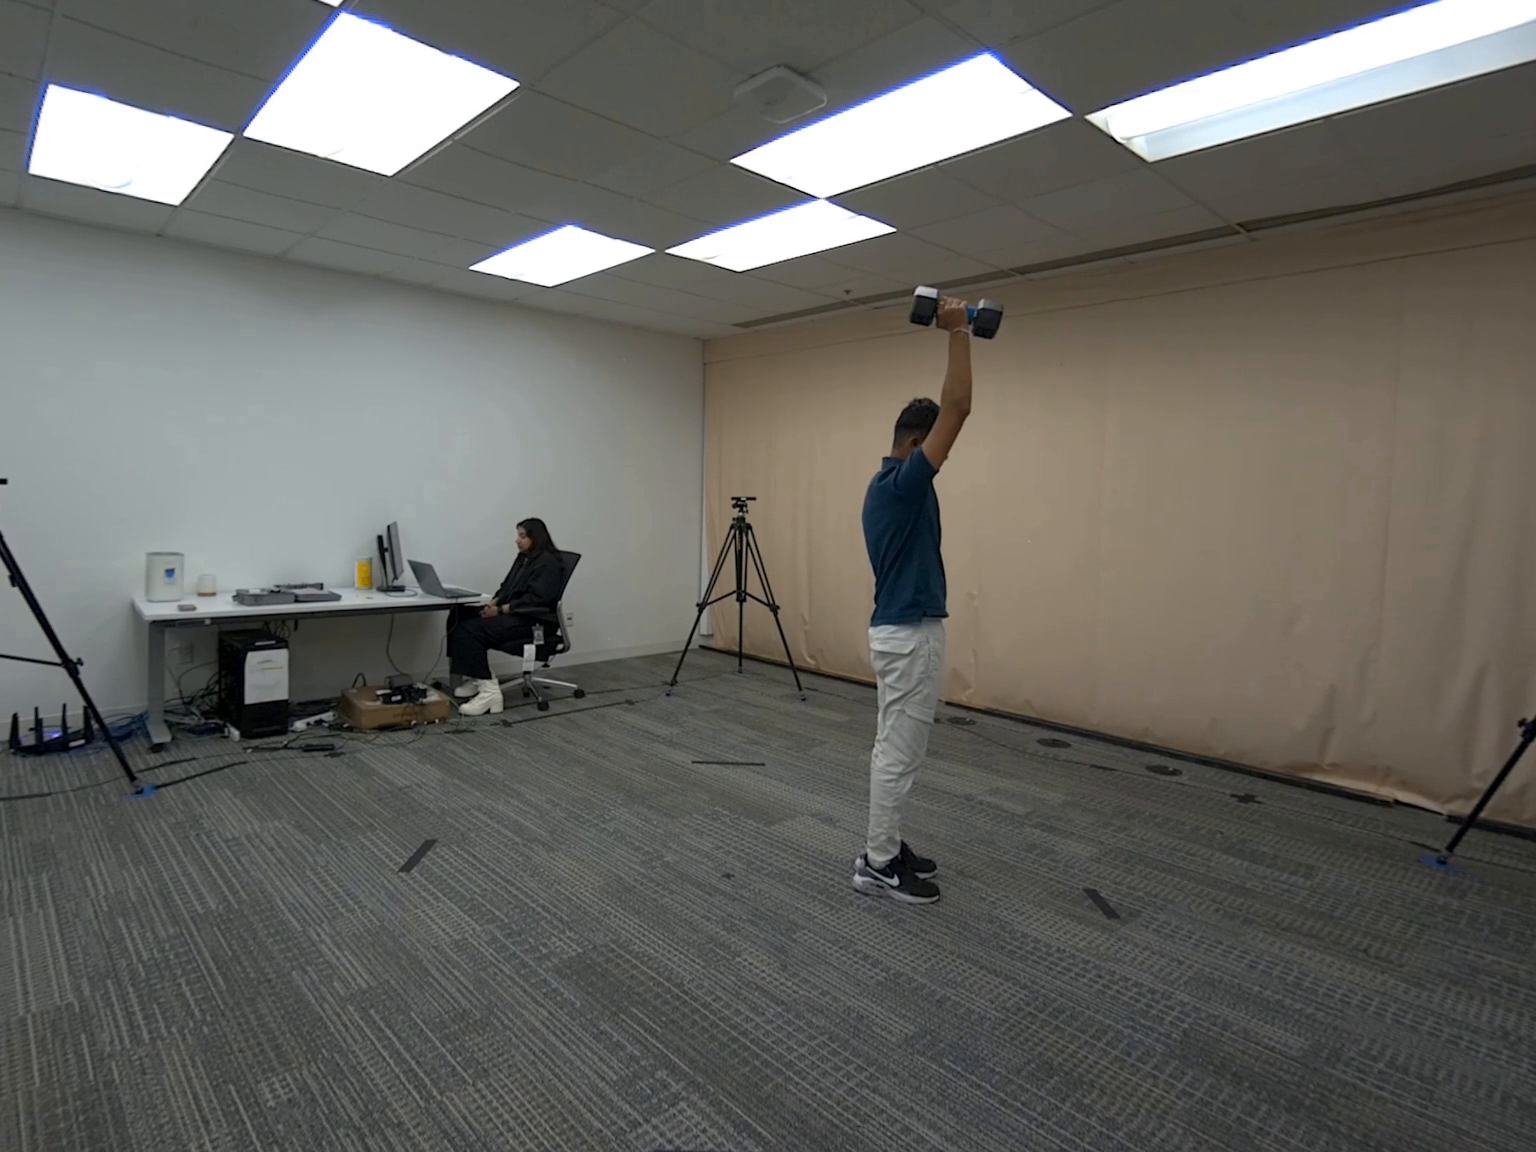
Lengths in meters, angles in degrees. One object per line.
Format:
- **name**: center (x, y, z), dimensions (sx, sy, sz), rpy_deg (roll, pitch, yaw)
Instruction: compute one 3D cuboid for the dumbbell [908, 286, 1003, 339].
- **dumbbell**: center (0.614, -0.866, 2.793), dimensions (0.296, 0.109, 0.121), rpy_deg (14, -12, 9)
